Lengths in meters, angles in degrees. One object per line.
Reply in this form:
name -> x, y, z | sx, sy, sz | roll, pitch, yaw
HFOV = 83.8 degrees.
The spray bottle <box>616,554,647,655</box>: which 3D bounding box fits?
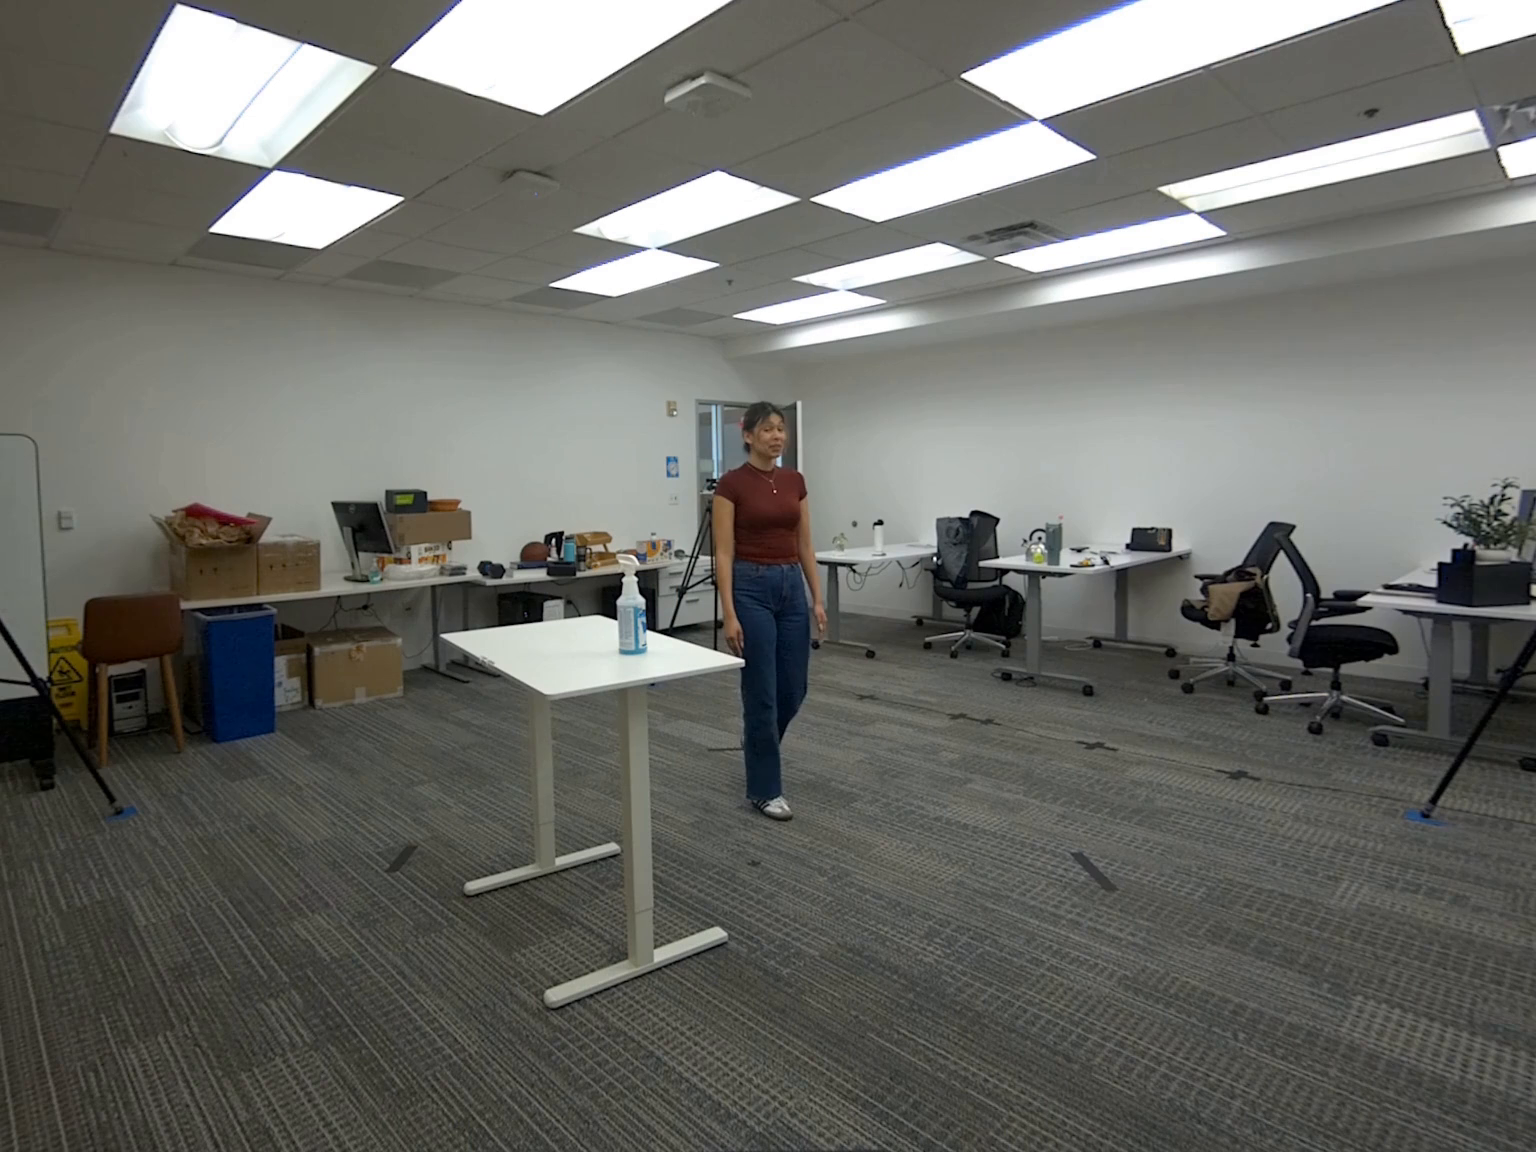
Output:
spray bottle -> -0.416, 0.087, 2.586 | 0.085, 0.296, 0.092 | -3, 4, -24
